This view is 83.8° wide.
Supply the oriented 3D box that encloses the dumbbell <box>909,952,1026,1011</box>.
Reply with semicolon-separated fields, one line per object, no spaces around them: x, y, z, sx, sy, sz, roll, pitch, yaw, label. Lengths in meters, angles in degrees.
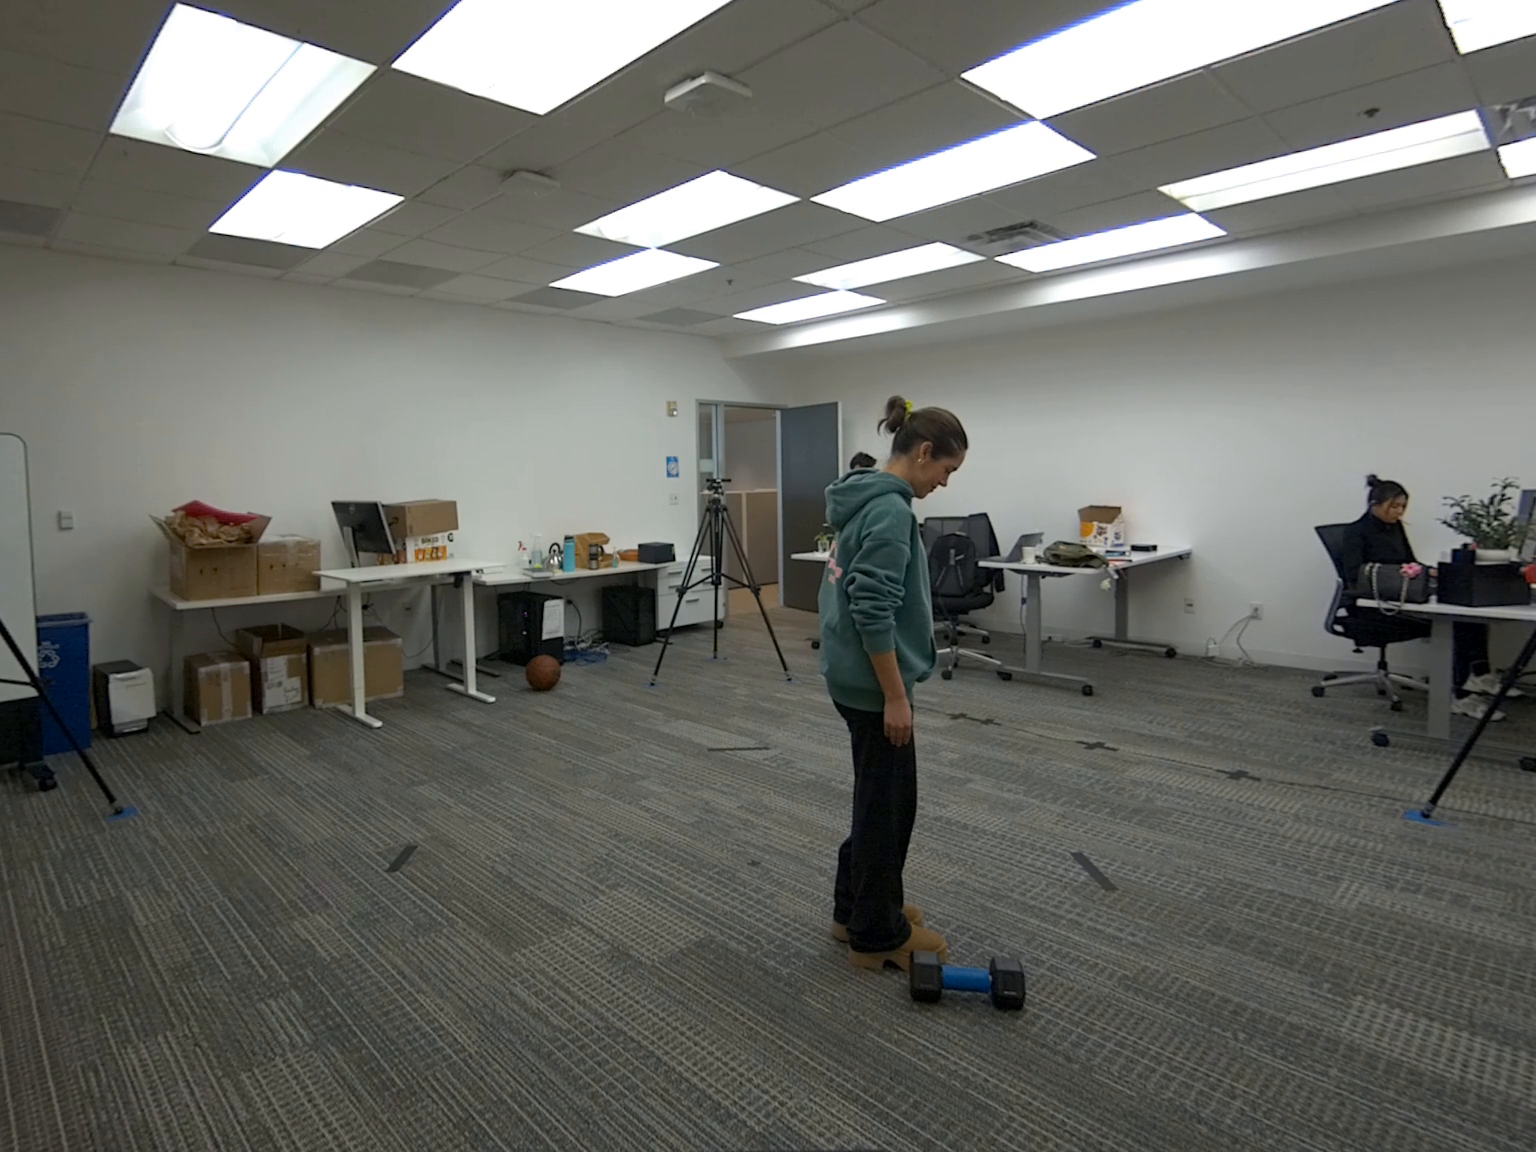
0.534;1.076;2.274;0.296;0.119;0.111;0;33;9;dumbbell
